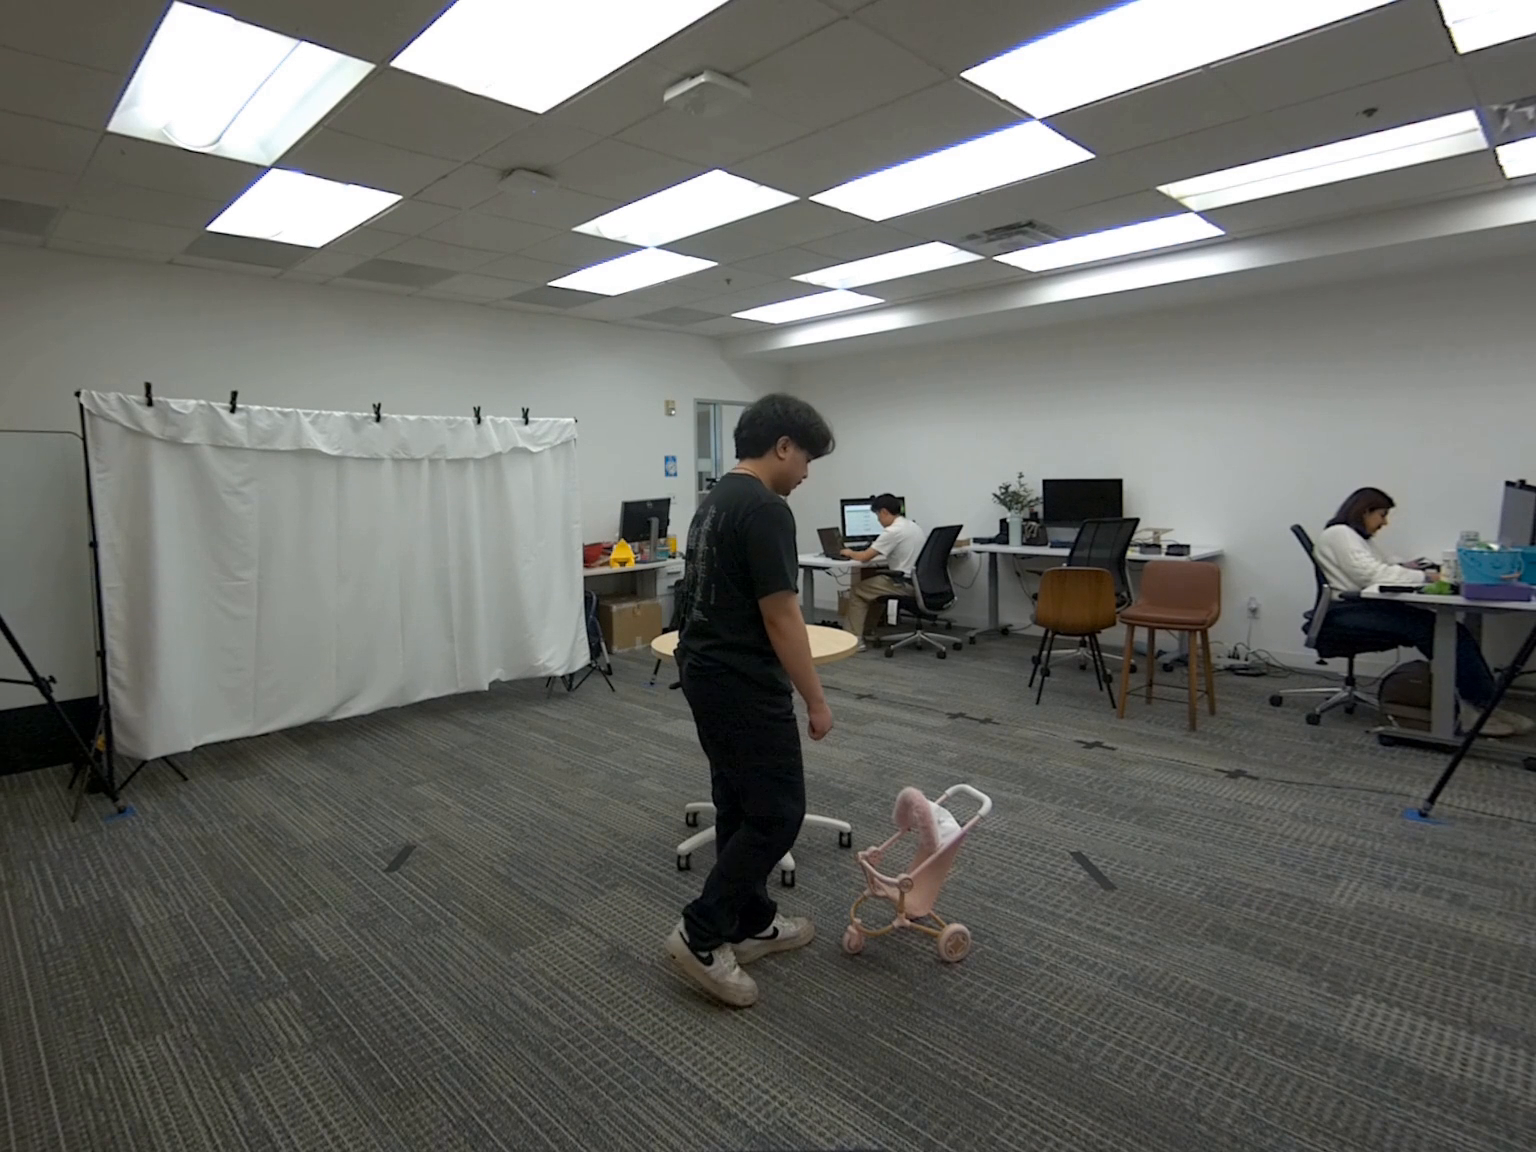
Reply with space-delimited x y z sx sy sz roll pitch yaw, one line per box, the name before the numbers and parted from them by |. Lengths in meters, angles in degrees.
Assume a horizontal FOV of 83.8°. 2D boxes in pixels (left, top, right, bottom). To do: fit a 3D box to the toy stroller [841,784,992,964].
toy stroller | 0.431 0.876 2.546 0.336 0.535 0.286 13 1 -14
